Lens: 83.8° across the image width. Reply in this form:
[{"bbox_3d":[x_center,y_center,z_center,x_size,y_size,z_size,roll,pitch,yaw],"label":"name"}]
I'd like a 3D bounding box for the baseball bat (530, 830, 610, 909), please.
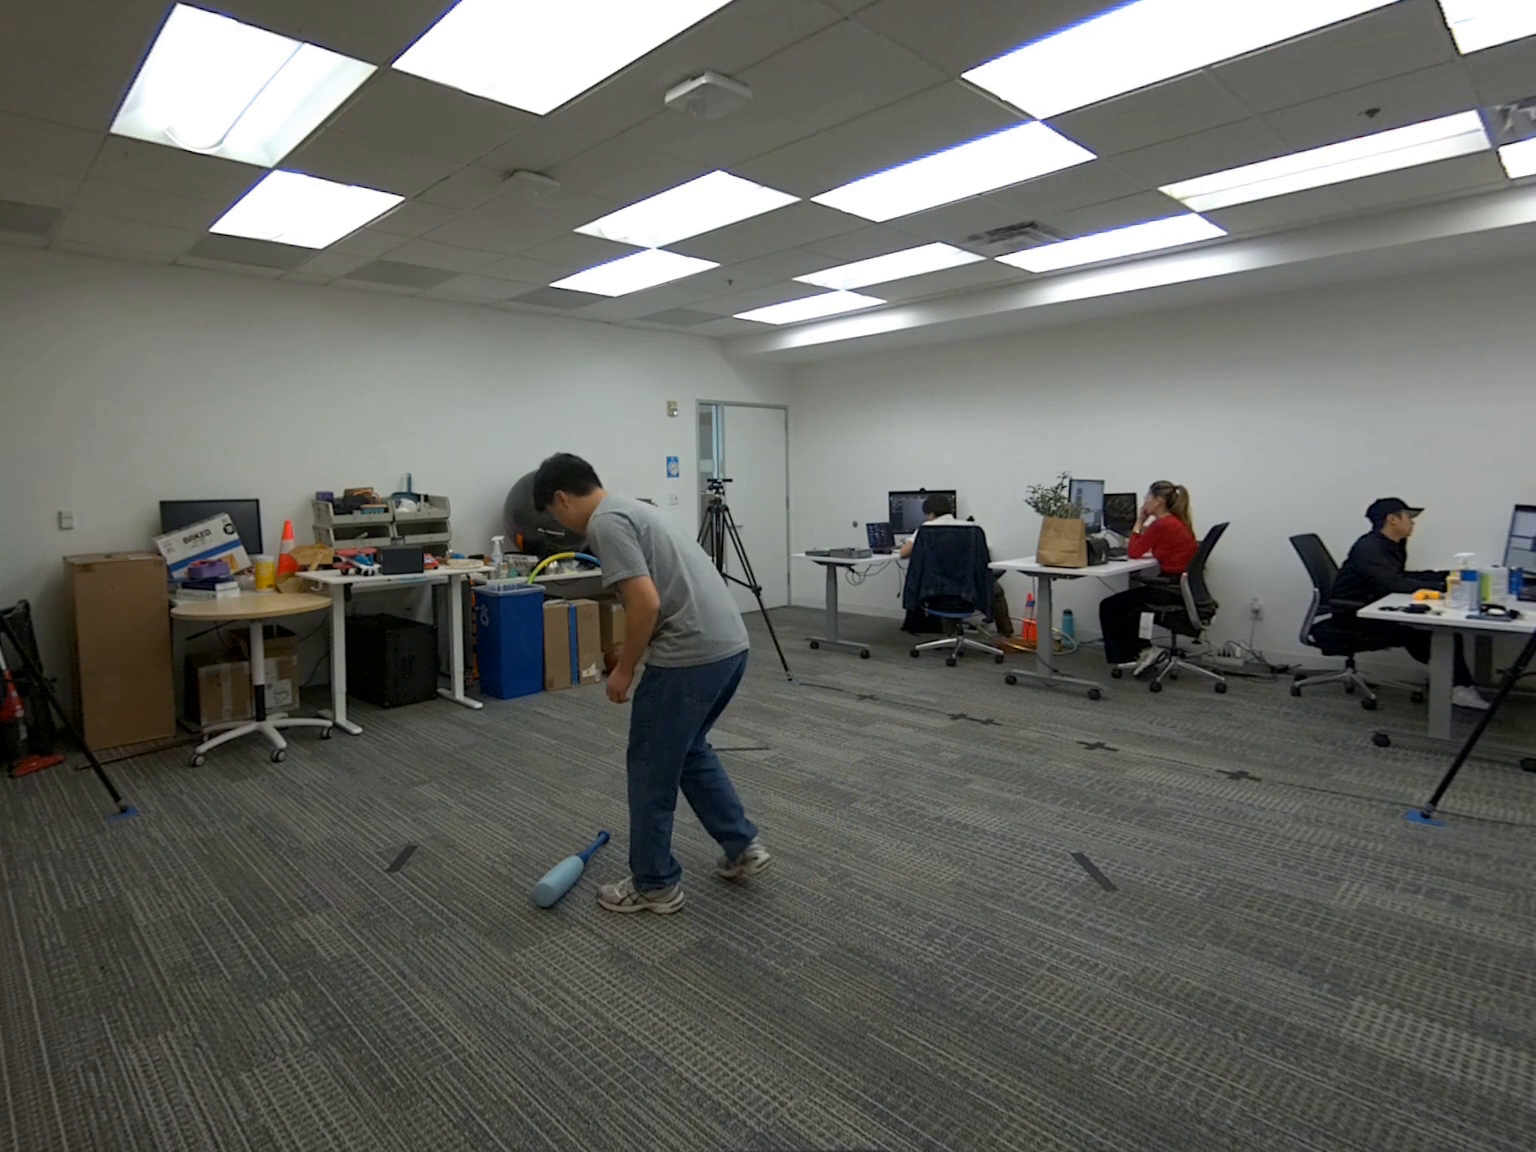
[{"bbox_3d":[-0.682,1.027,3.051,0.090,0.089,0.538,0,5,11],"label":"baseball bat"}]
